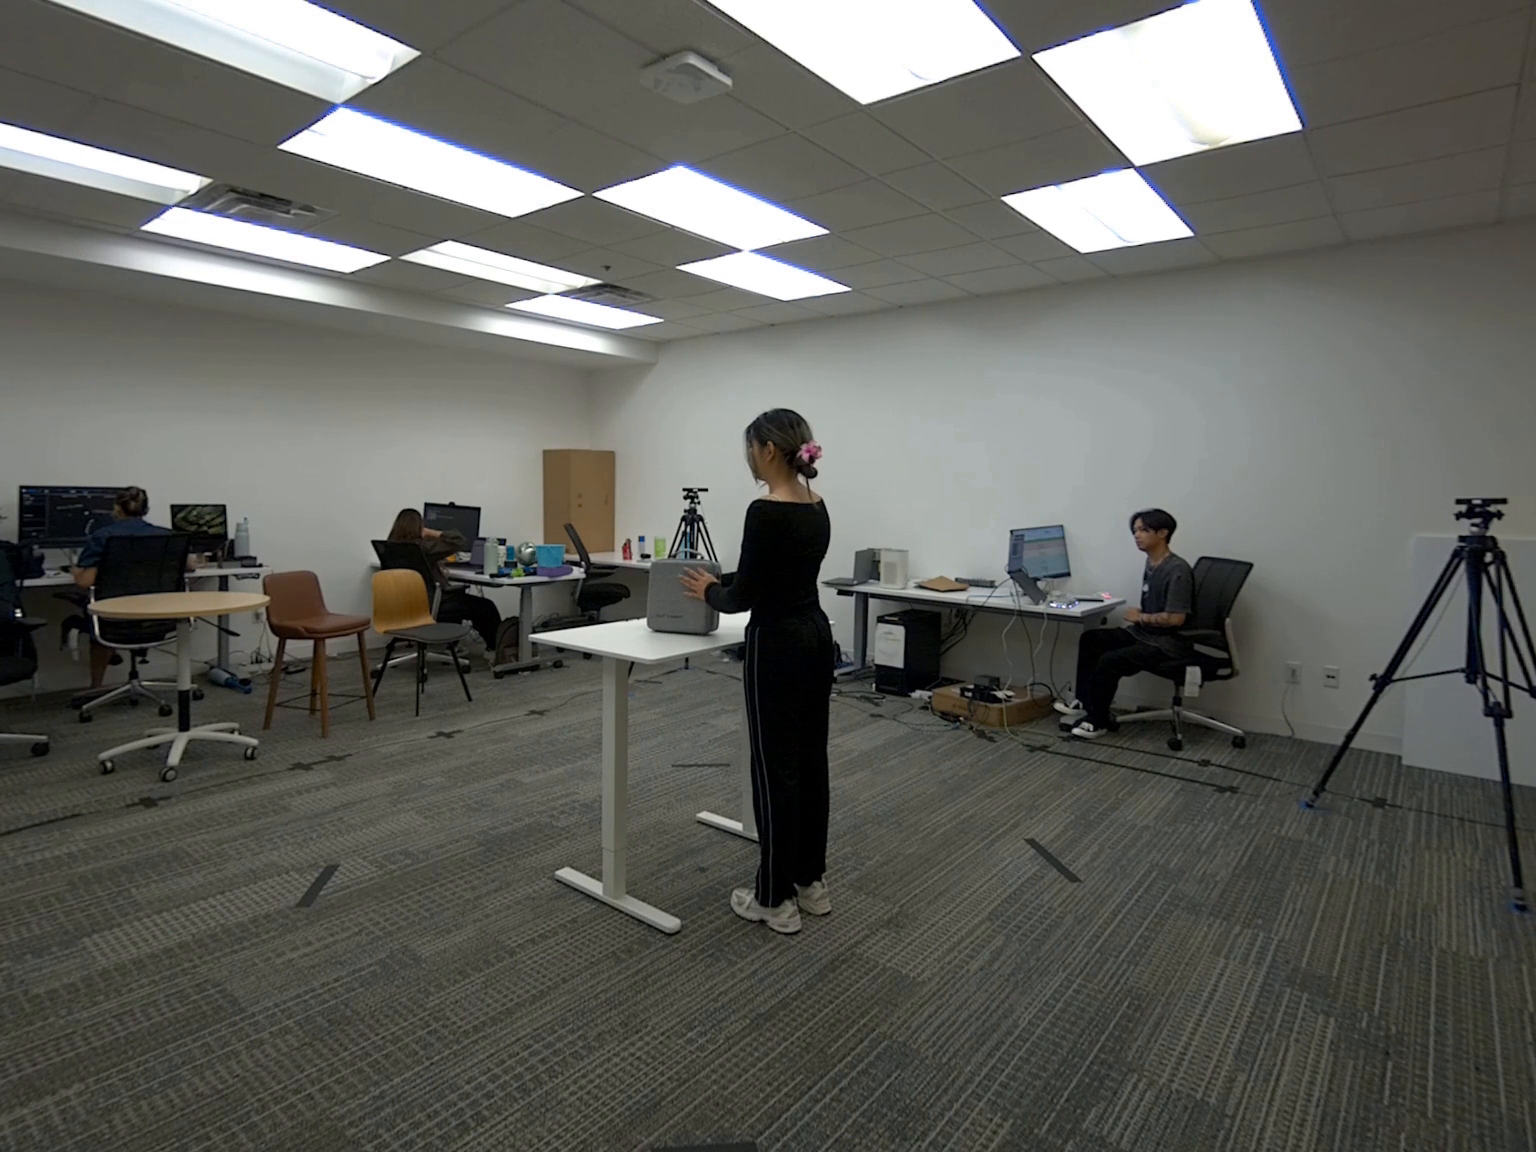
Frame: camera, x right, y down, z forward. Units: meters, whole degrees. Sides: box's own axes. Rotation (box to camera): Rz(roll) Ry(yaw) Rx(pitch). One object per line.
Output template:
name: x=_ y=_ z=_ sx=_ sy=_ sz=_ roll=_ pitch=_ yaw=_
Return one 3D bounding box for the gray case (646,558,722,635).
gray case: x=-0.304 y=0.066 z=3.003 sx=0.263 sy=0.261 sz=0.101 roll=1 pitch=-3 yaw=25
